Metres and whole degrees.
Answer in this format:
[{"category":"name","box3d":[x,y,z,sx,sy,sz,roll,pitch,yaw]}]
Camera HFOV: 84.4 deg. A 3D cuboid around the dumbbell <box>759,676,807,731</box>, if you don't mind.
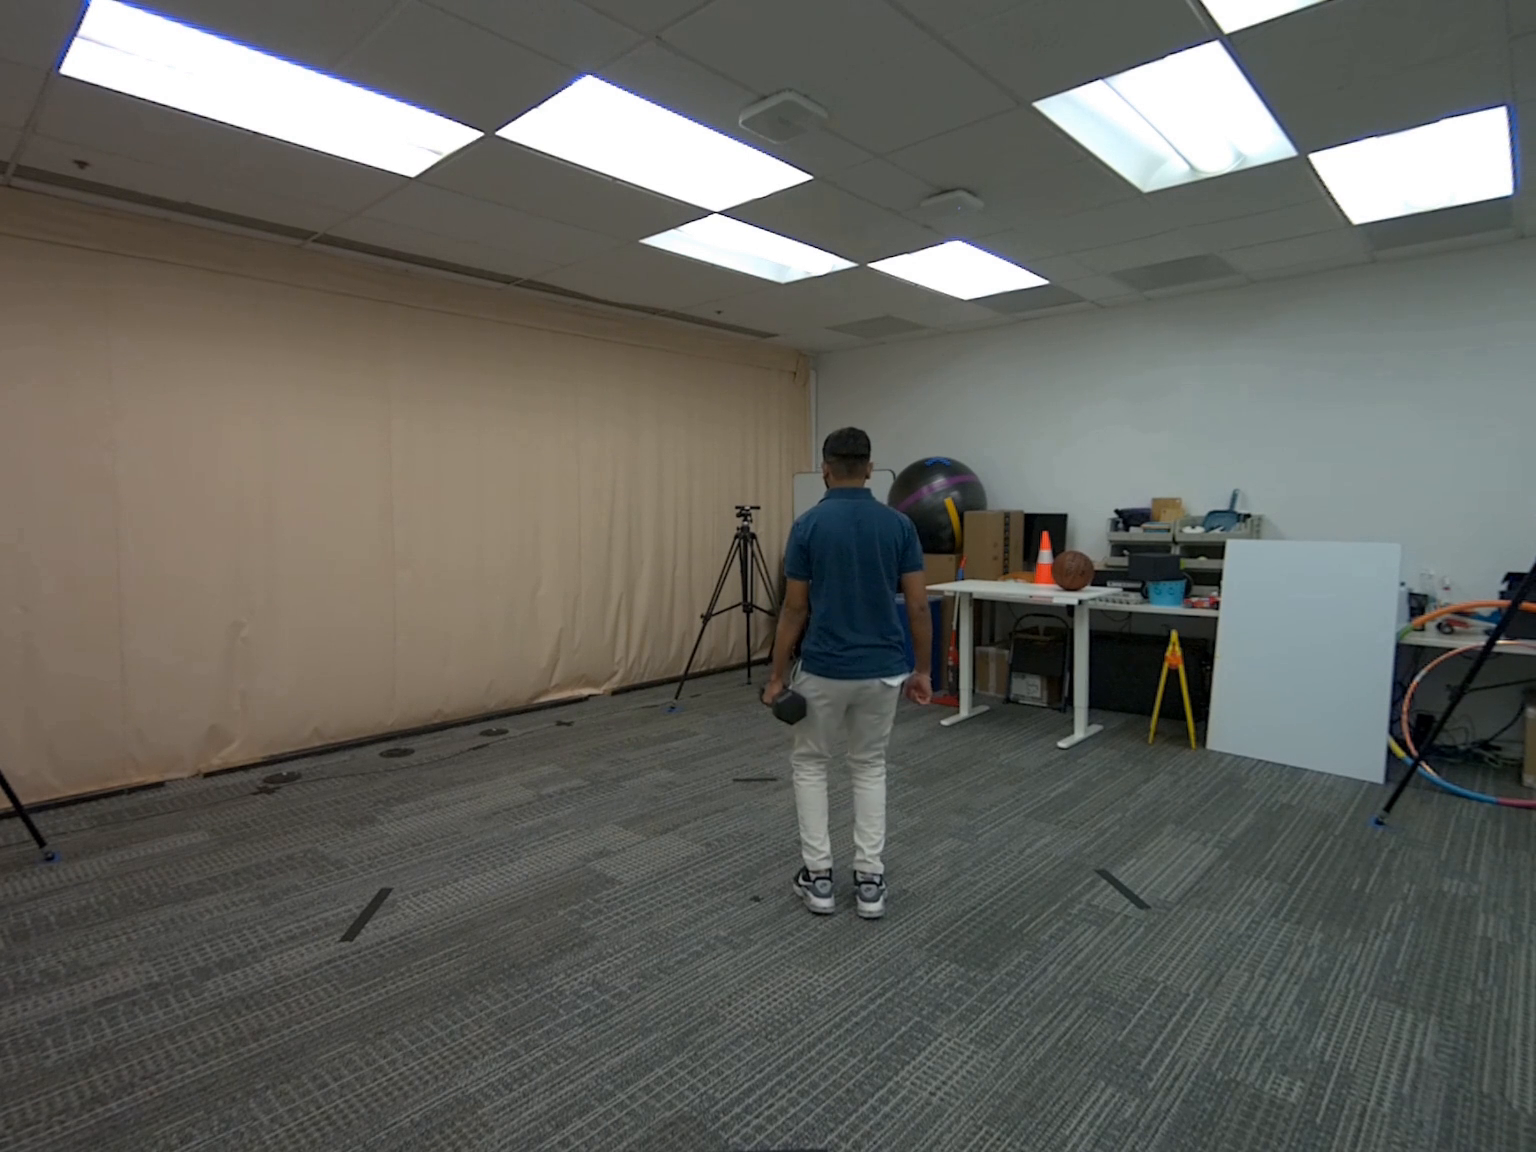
[{"category":"dumbbell","box3d":[0.056,0.448,3.027,0.107,0.122,0.298,-1,5,-13]}]
